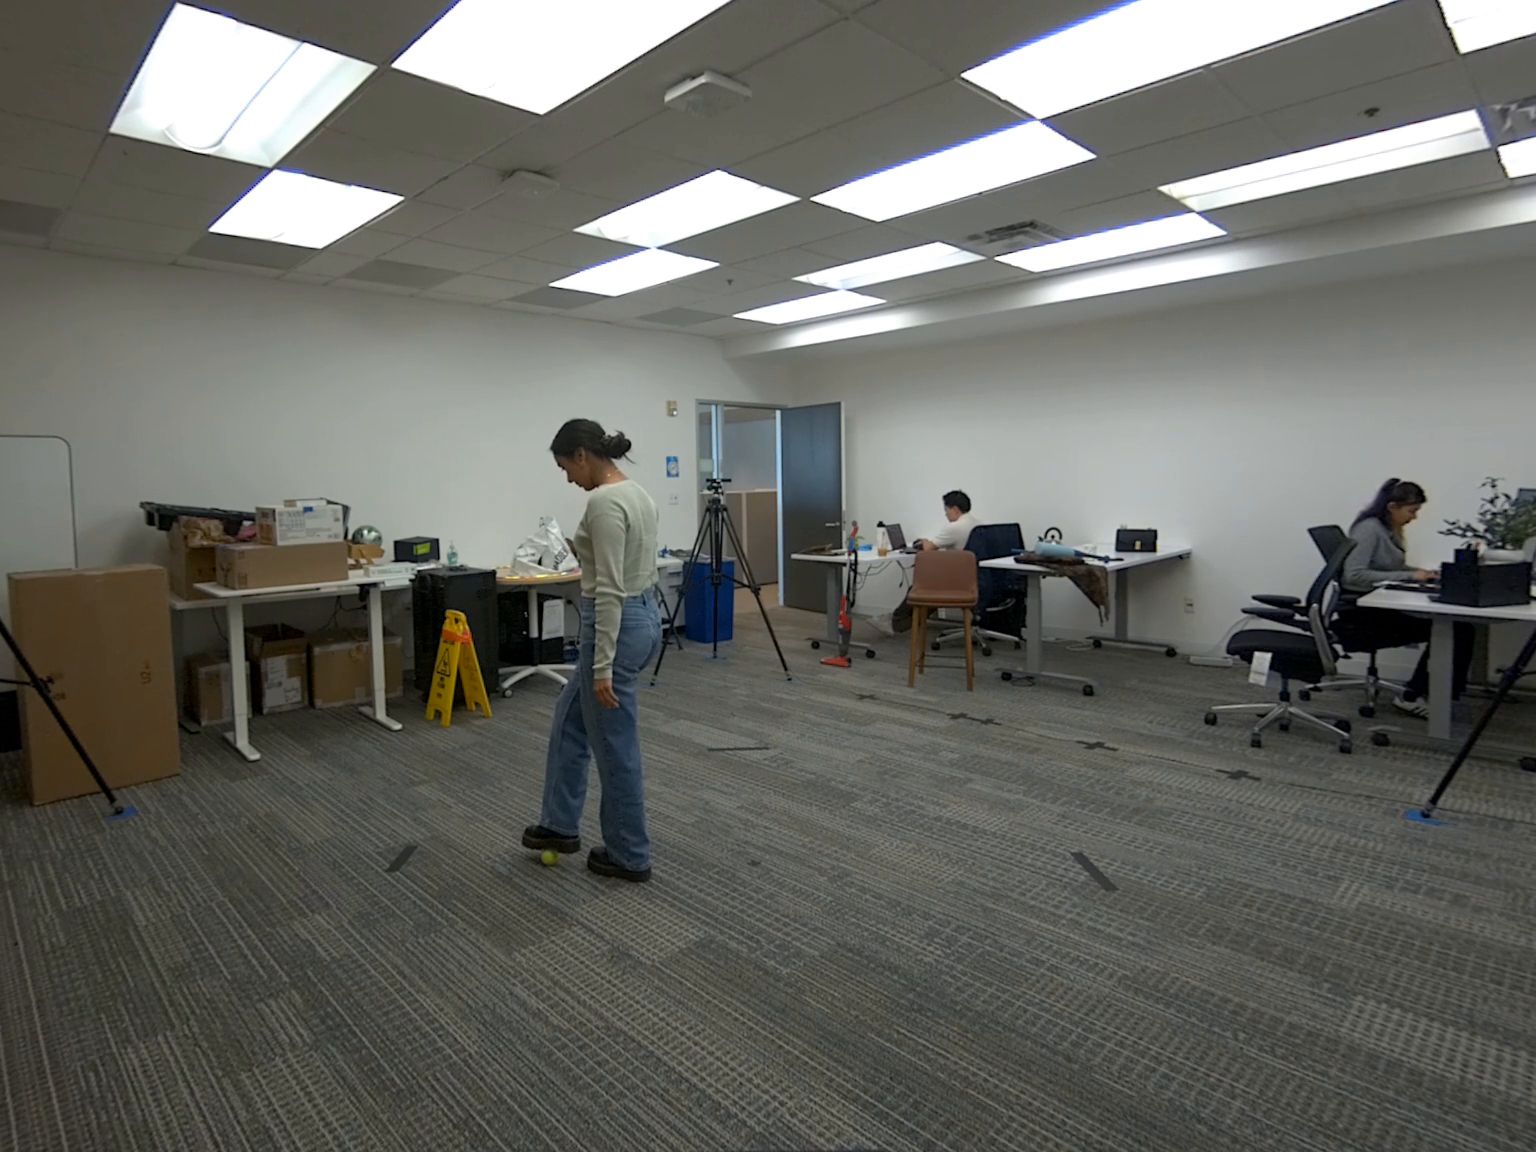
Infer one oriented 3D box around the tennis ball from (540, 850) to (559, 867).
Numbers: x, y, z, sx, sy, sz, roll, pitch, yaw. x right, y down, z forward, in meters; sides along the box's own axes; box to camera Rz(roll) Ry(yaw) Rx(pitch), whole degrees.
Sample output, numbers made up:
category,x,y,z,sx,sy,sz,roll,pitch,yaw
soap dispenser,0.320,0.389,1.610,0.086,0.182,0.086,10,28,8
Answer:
category,x,y,z,sx,sy,sz,roll,pitch,yaw
tennis ball,-0.818,1.024,3.142,0.066,0.066,0.067,-1,5,-2
